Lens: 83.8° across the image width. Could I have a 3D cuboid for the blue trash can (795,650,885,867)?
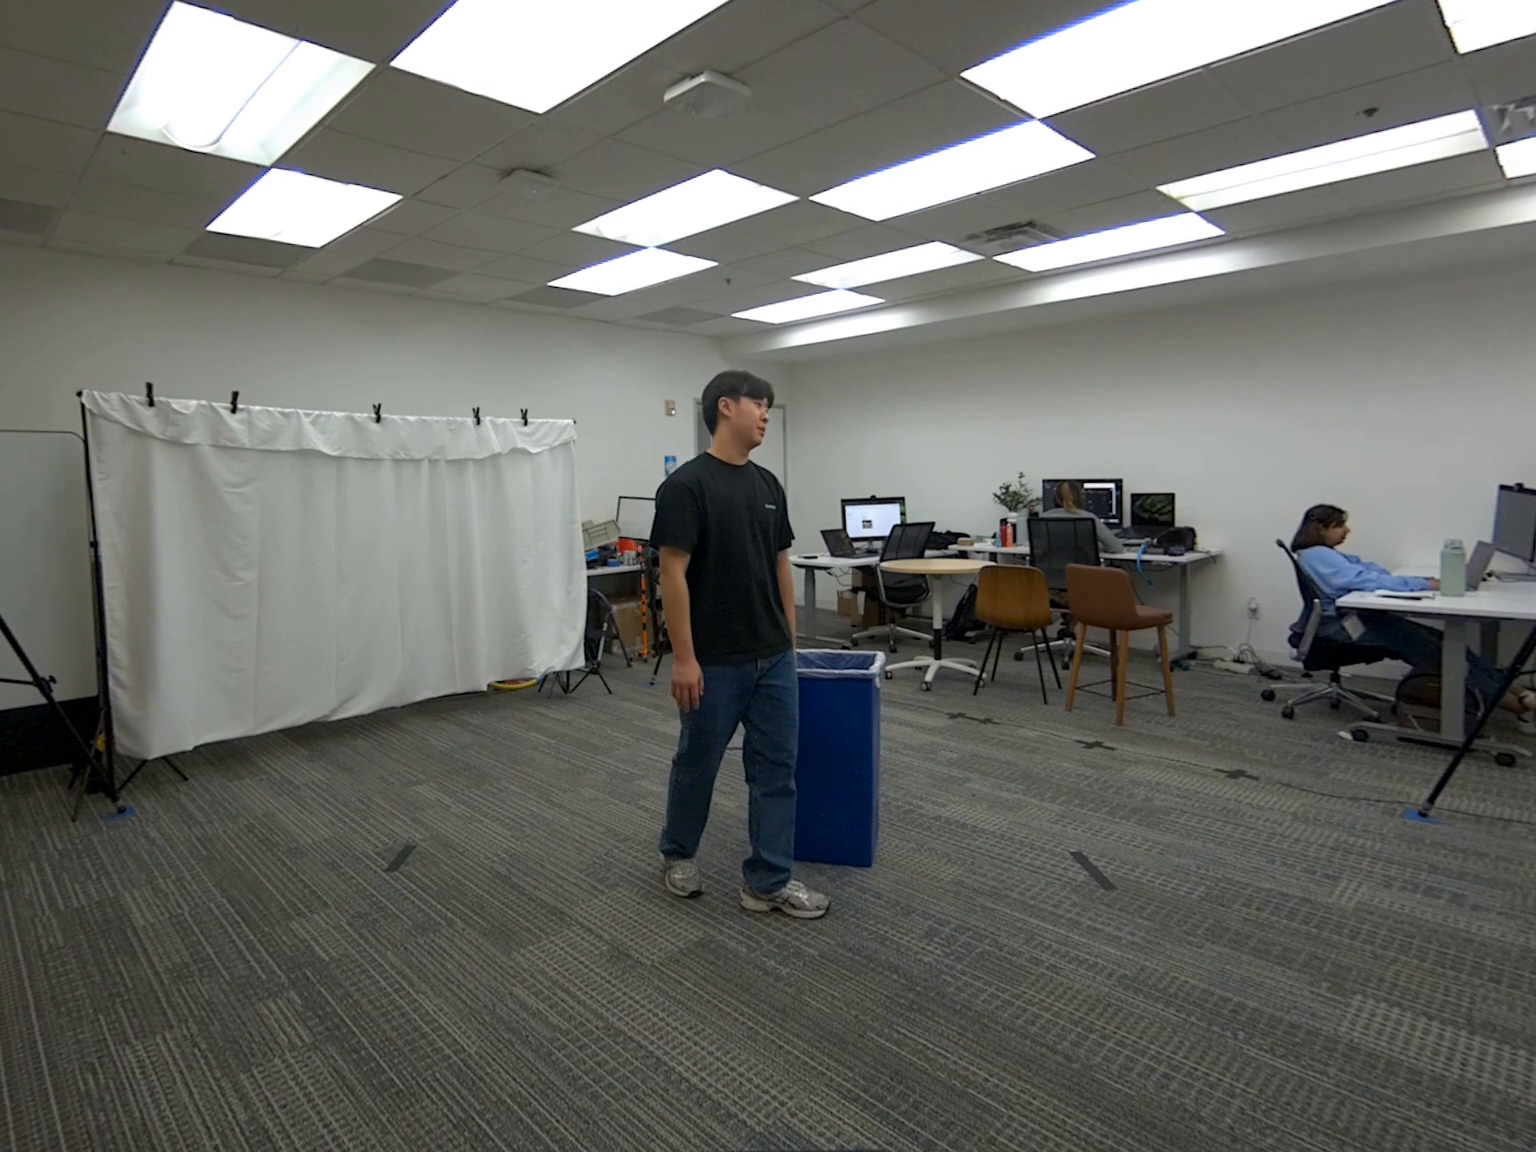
[{"bbox_3d":[0.255,0.665,3.214,0.379,0.711,0.374,-2,4,14],"label":"blue trash can"}]
